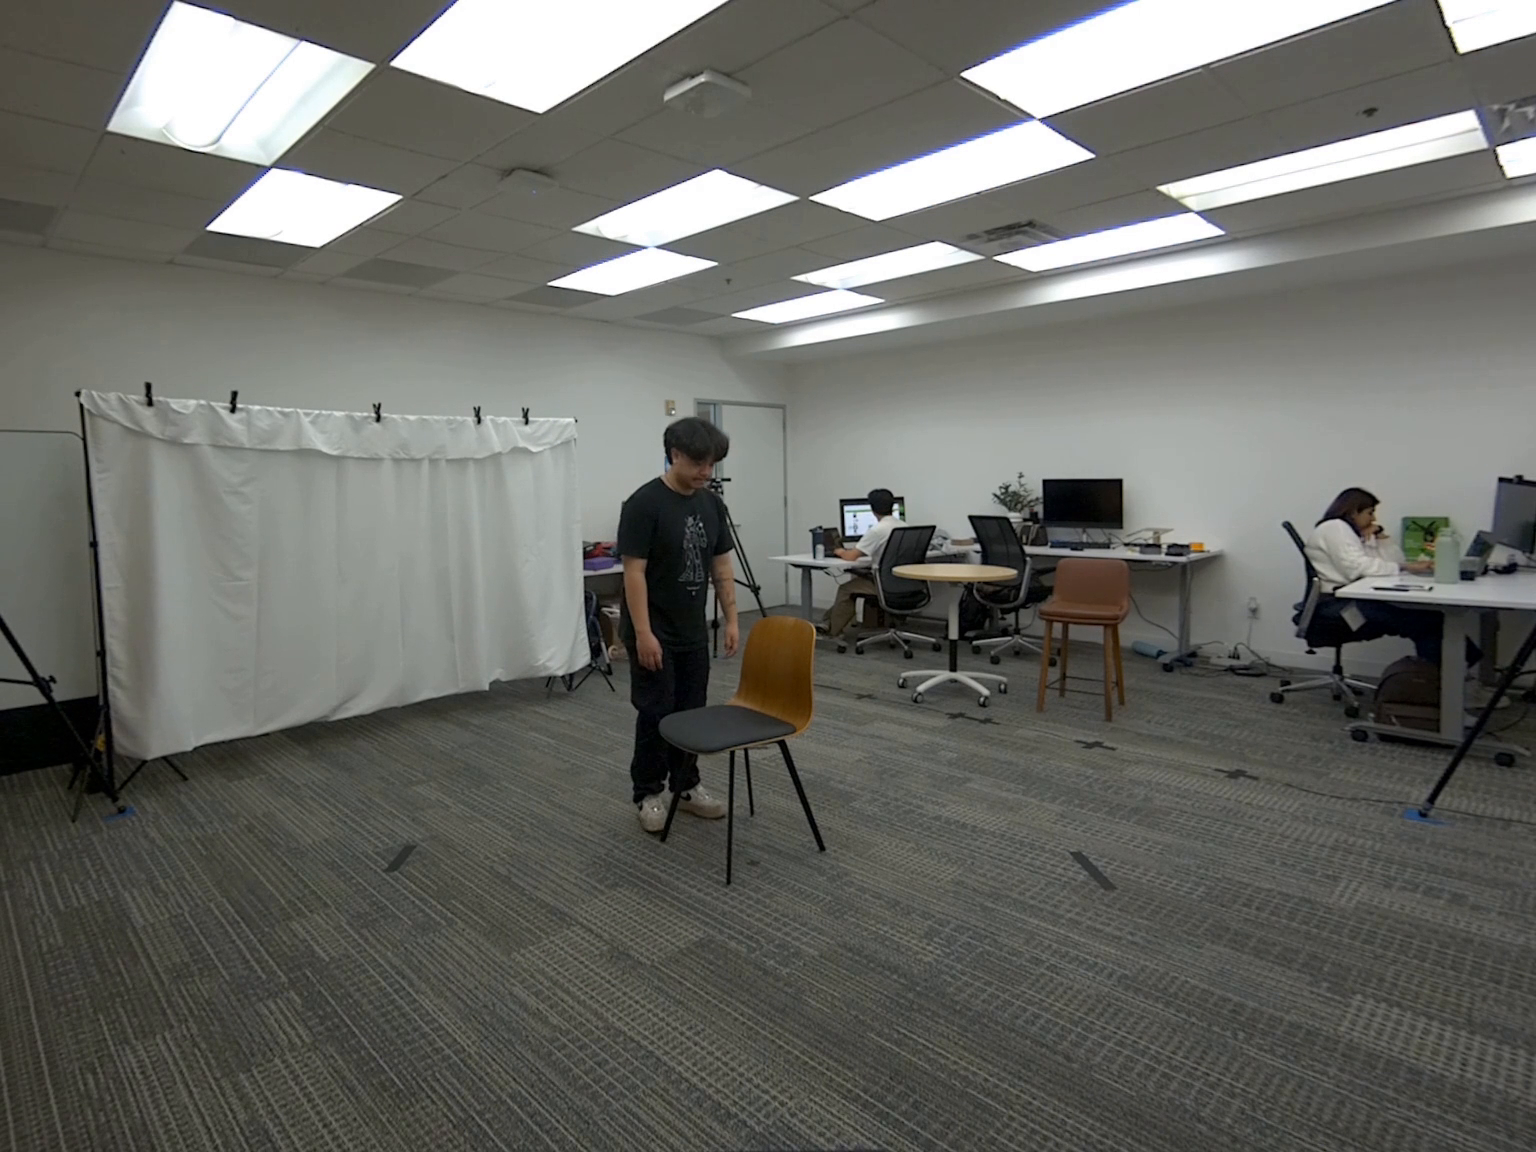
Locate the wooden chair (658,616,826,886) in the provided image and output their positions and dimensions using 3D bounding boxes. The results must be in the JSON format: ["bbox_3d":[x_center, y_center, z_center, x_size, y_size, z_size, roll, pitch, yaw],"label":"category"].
[{"bbox_3d":[-0.110,0.604,3.201,0.508,0.876,0.492,1,2,-38],"label":"wooden chair"}]
